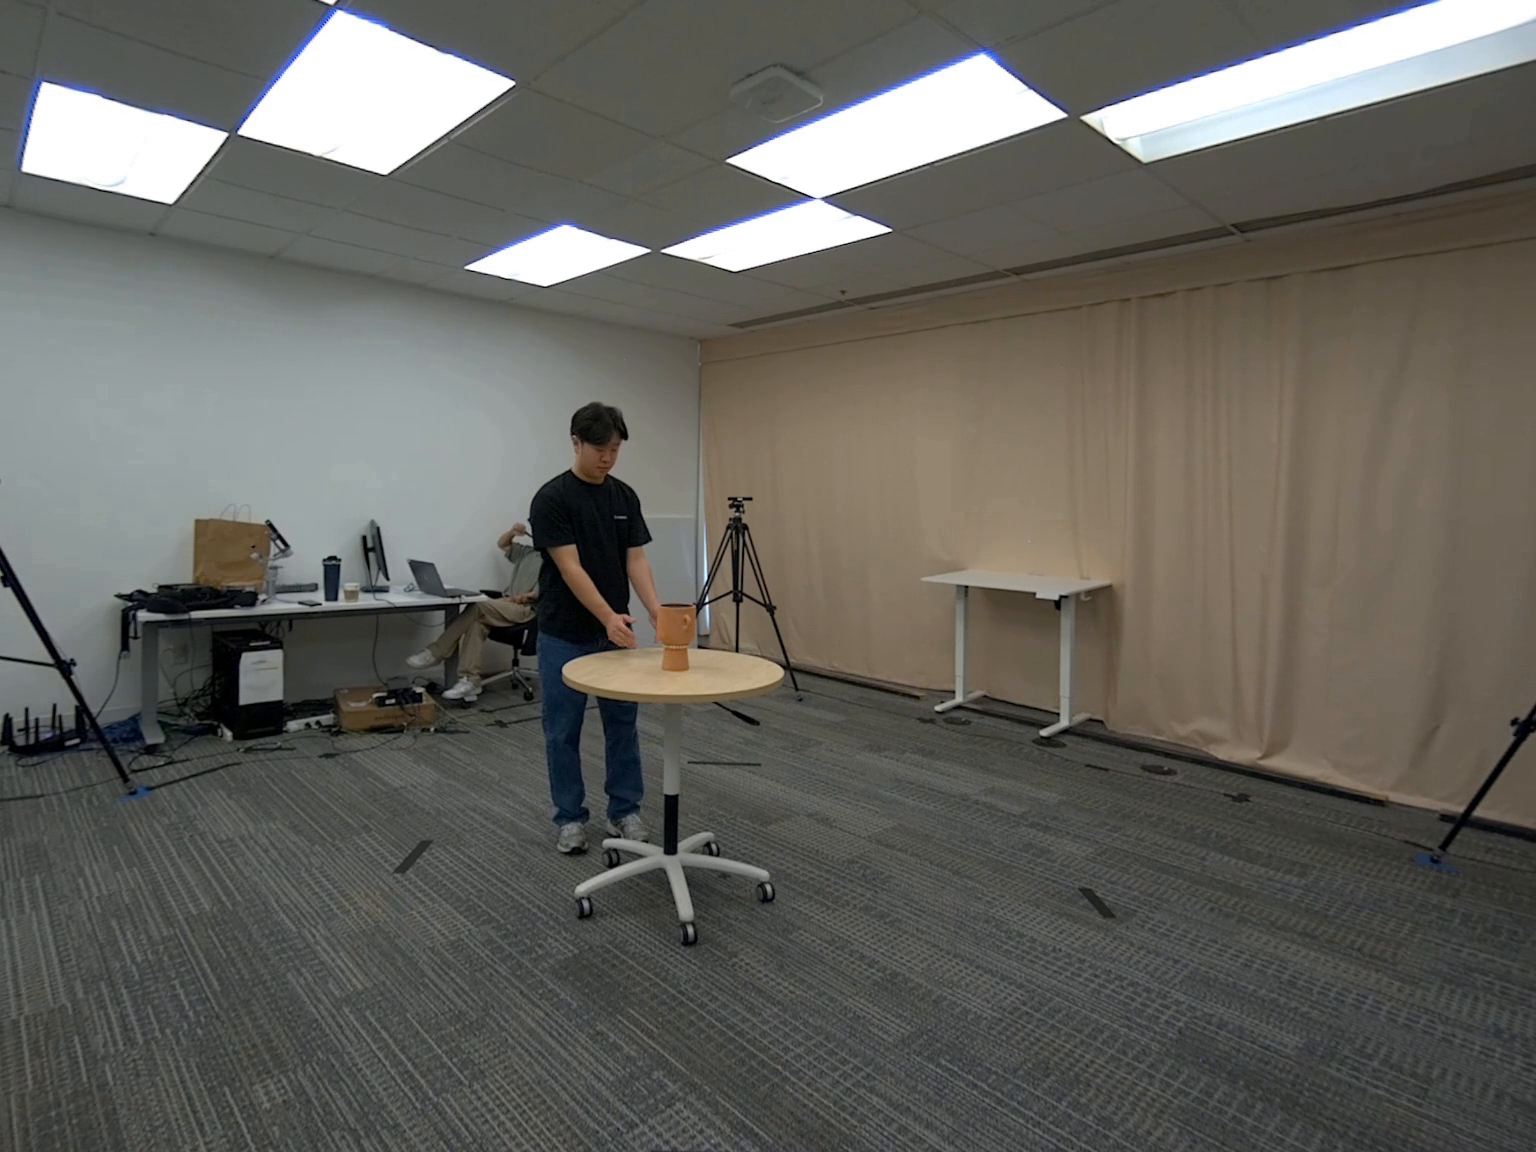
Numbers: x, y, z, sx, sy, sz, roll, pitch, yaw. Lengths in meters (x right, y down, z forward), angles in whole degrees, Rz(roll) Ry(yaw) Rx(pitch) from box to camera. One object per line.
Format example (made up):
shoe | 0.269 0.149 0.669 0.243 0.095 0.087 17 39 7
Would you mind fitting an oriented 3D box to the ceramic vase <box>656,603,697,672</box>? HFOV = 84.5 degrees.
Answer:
ceramic vase | -0.325 0.216 2.916 0.135 0.219 0.158 2 4 6
